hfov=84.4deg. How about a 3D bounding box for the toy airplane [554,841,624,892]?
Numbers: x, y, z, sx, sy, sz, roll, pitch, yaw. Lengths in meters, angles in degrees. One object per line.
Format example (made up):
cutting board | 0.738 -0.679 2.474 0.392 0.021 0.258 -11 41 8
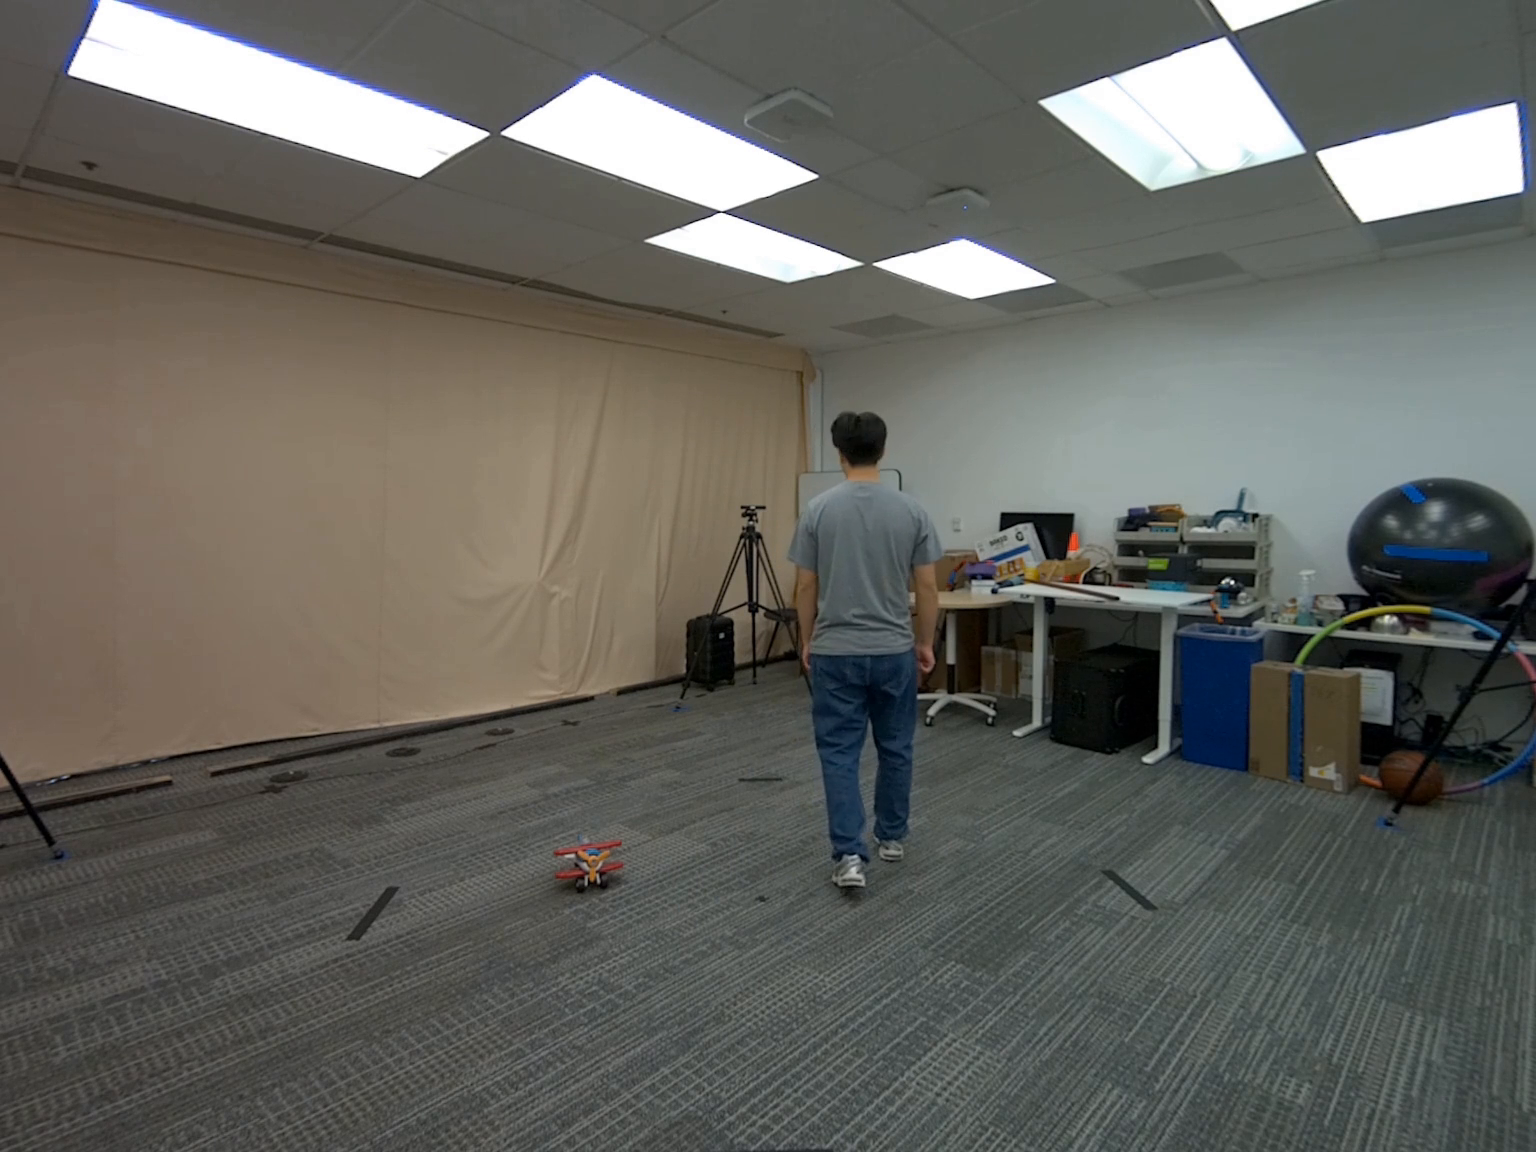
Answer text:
toy airplane | -0.696 1.067 3.134 0.268 0.156 0.243 3 5 39
